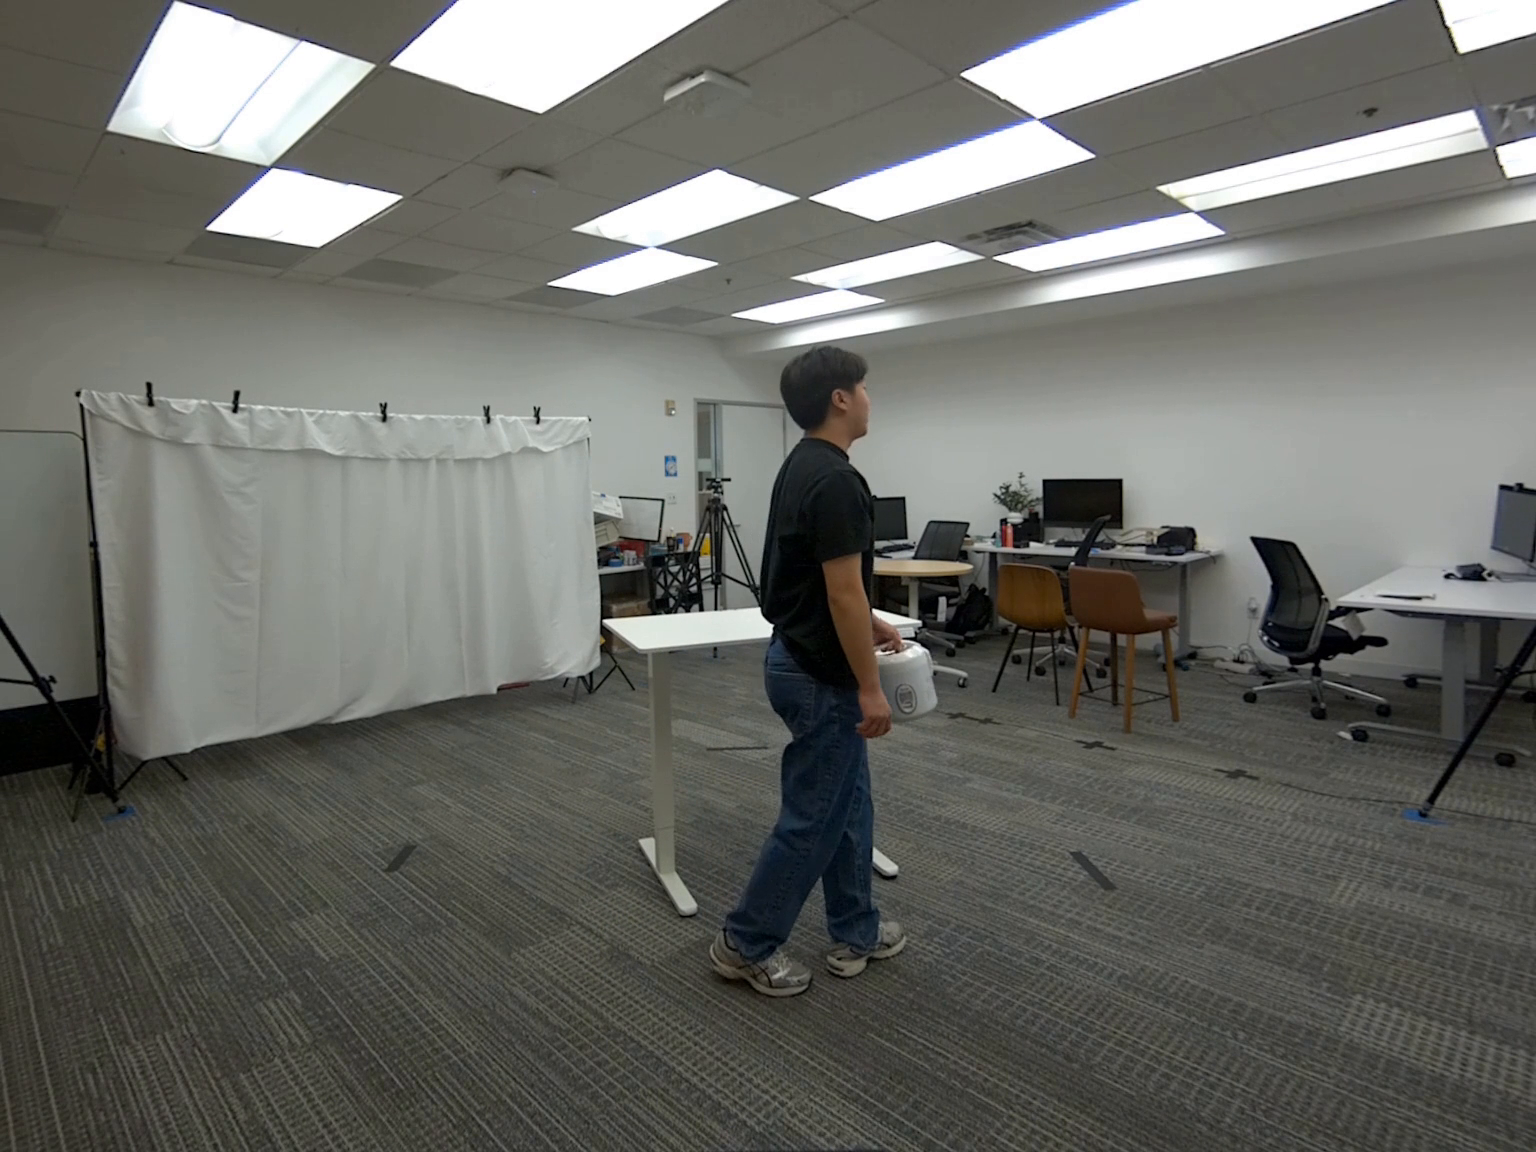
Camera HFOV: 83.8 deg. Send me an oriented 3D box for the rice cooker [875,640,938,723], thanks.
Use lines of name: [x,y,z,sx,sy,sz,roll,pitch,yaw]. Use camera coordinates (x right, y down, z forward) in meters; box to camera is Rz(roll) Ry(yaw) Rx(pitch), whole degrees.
rice cooker: [0.400,0.319,2.606,0.221,0.232,0.218,-14,4,1]
